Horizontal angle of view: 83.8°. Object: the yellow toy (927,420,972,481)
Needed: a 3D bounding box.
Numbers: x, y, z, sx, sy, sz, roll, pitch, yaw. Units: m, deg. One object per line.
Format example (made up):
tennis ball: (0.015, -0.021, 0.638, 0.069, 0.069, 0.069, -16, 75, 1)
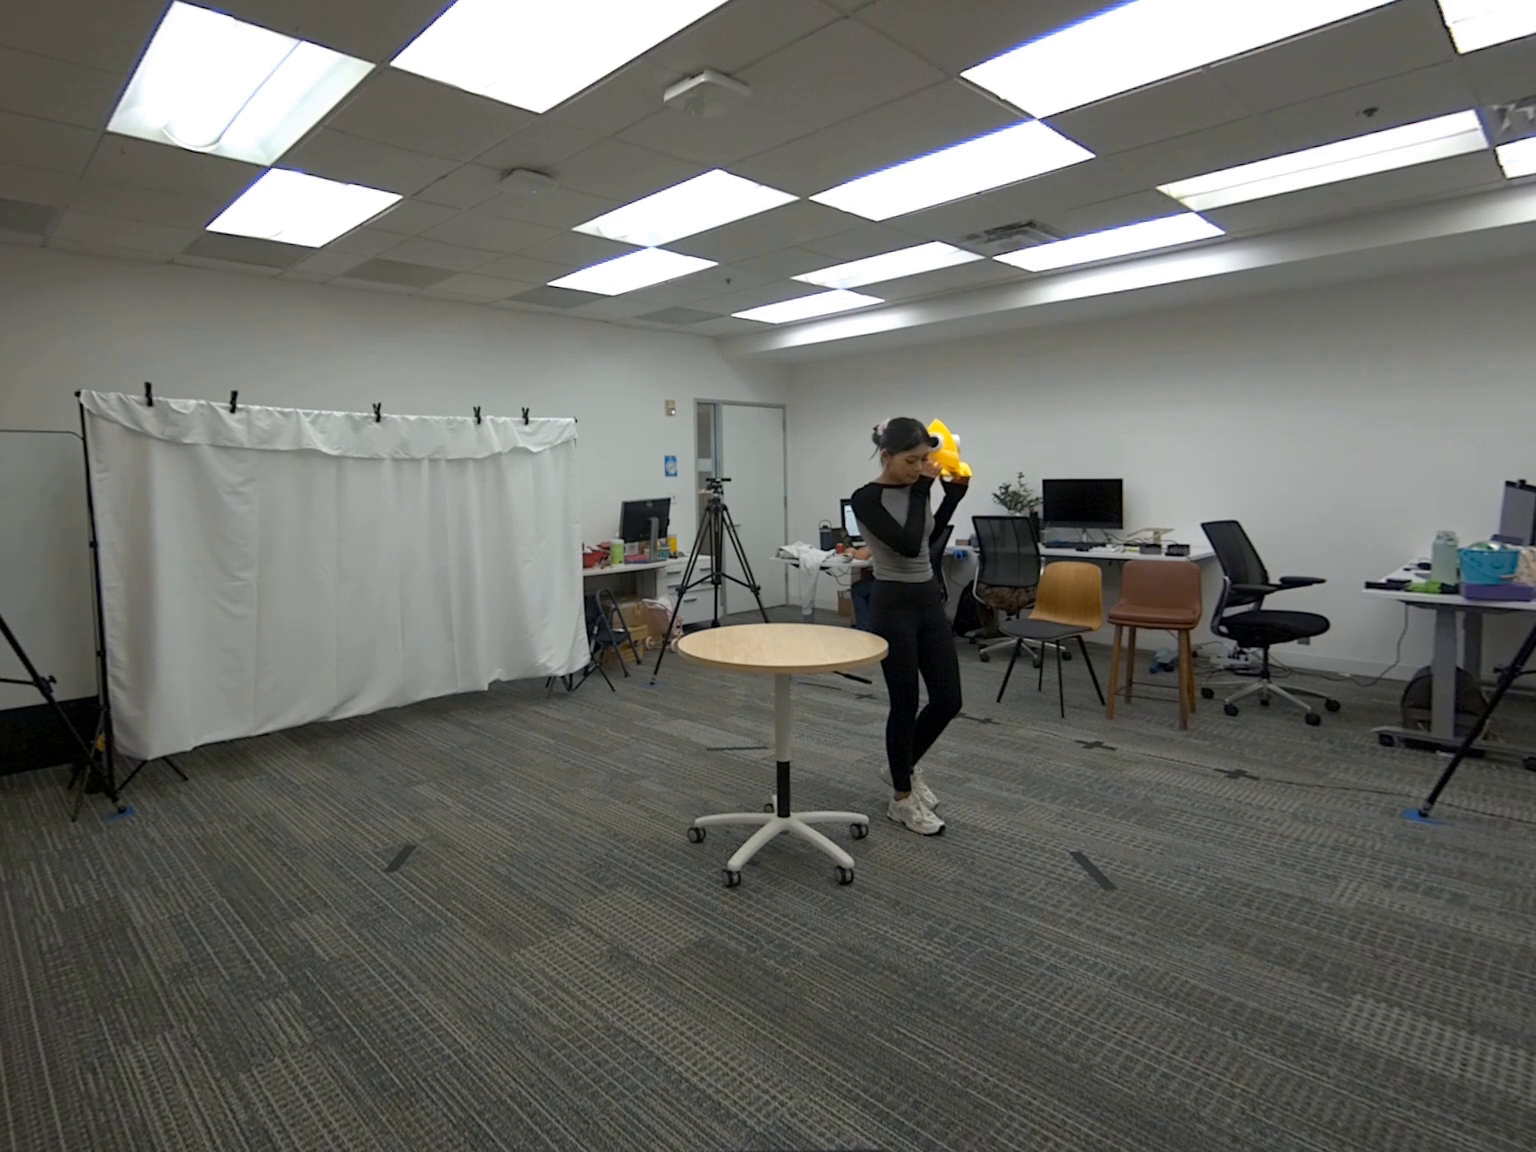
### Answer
yellow toy: (0.699, -0.513, 3.385, 0.200, 0.230, 0.198, 1, 2, -27)
